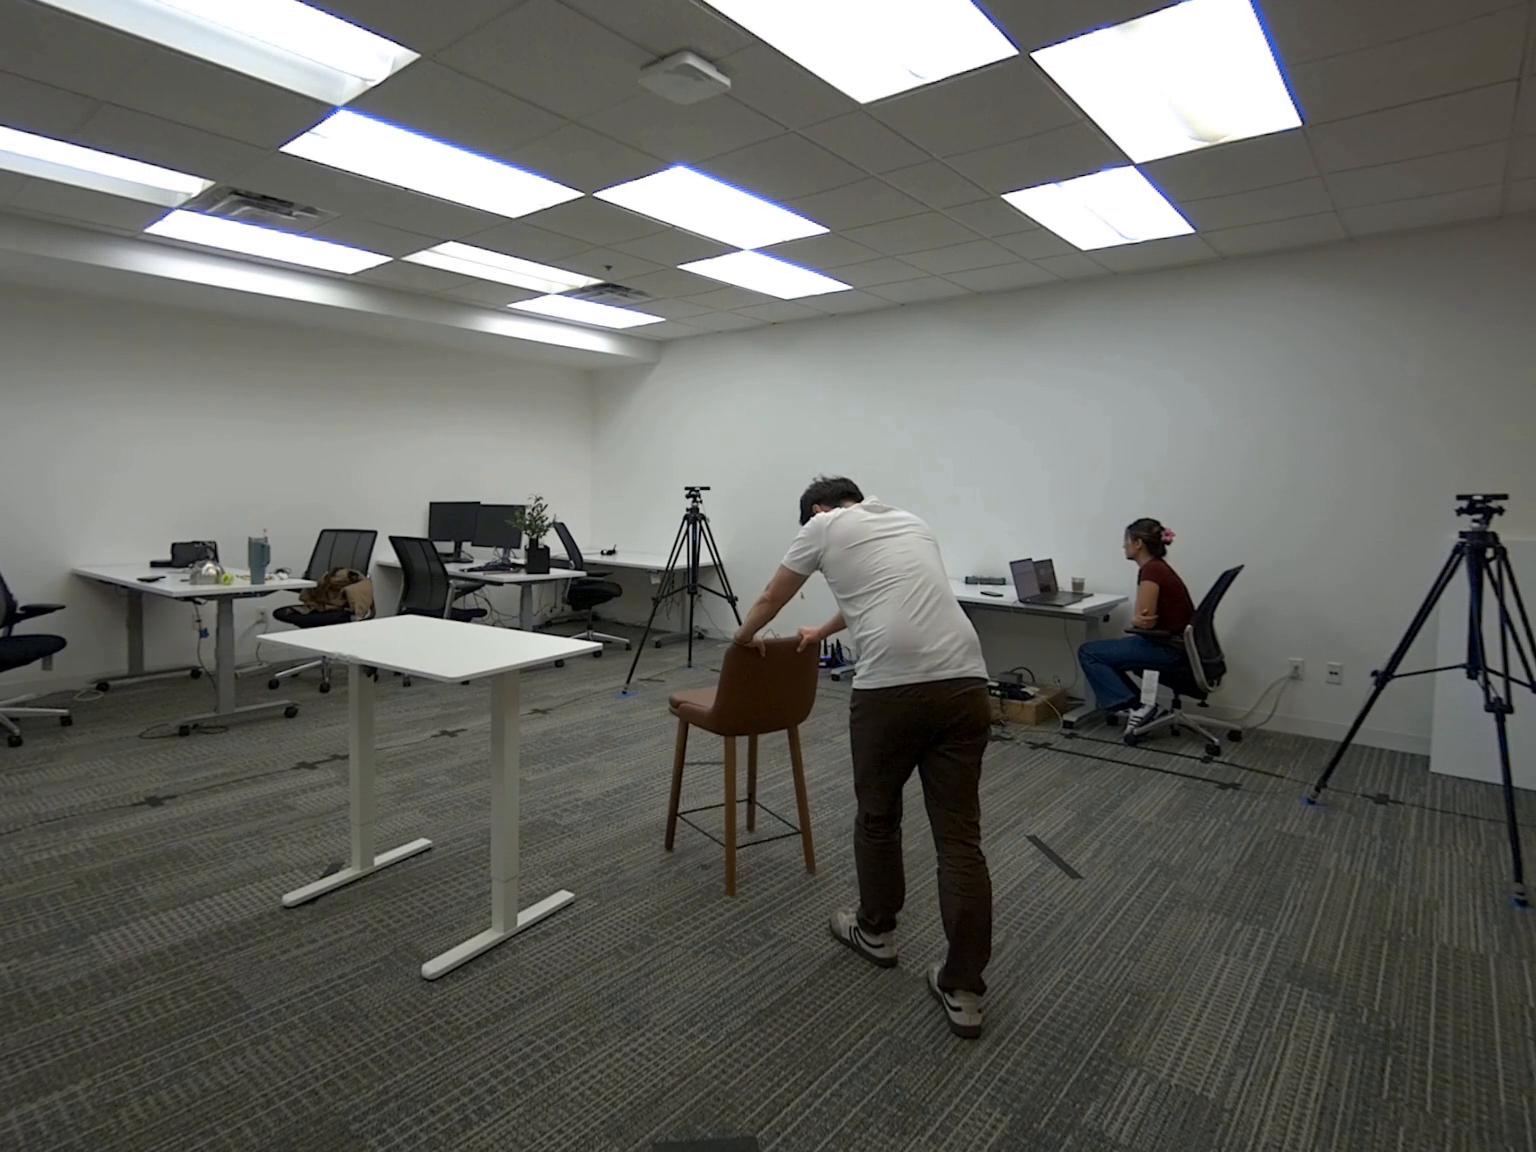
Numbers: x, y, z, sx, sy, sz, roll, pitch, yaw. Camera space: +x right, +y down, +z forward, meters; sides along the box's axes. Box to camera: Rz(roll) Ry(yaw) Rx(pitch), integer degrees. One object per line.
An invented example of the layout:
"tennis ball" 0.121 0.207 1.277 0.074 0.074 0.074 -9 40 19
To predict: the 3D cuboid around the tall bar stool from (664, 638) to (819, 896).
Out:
"tall bar stool" -0.103 0.626 3.154 0.443 0.886 0.483 -1 6 -34
